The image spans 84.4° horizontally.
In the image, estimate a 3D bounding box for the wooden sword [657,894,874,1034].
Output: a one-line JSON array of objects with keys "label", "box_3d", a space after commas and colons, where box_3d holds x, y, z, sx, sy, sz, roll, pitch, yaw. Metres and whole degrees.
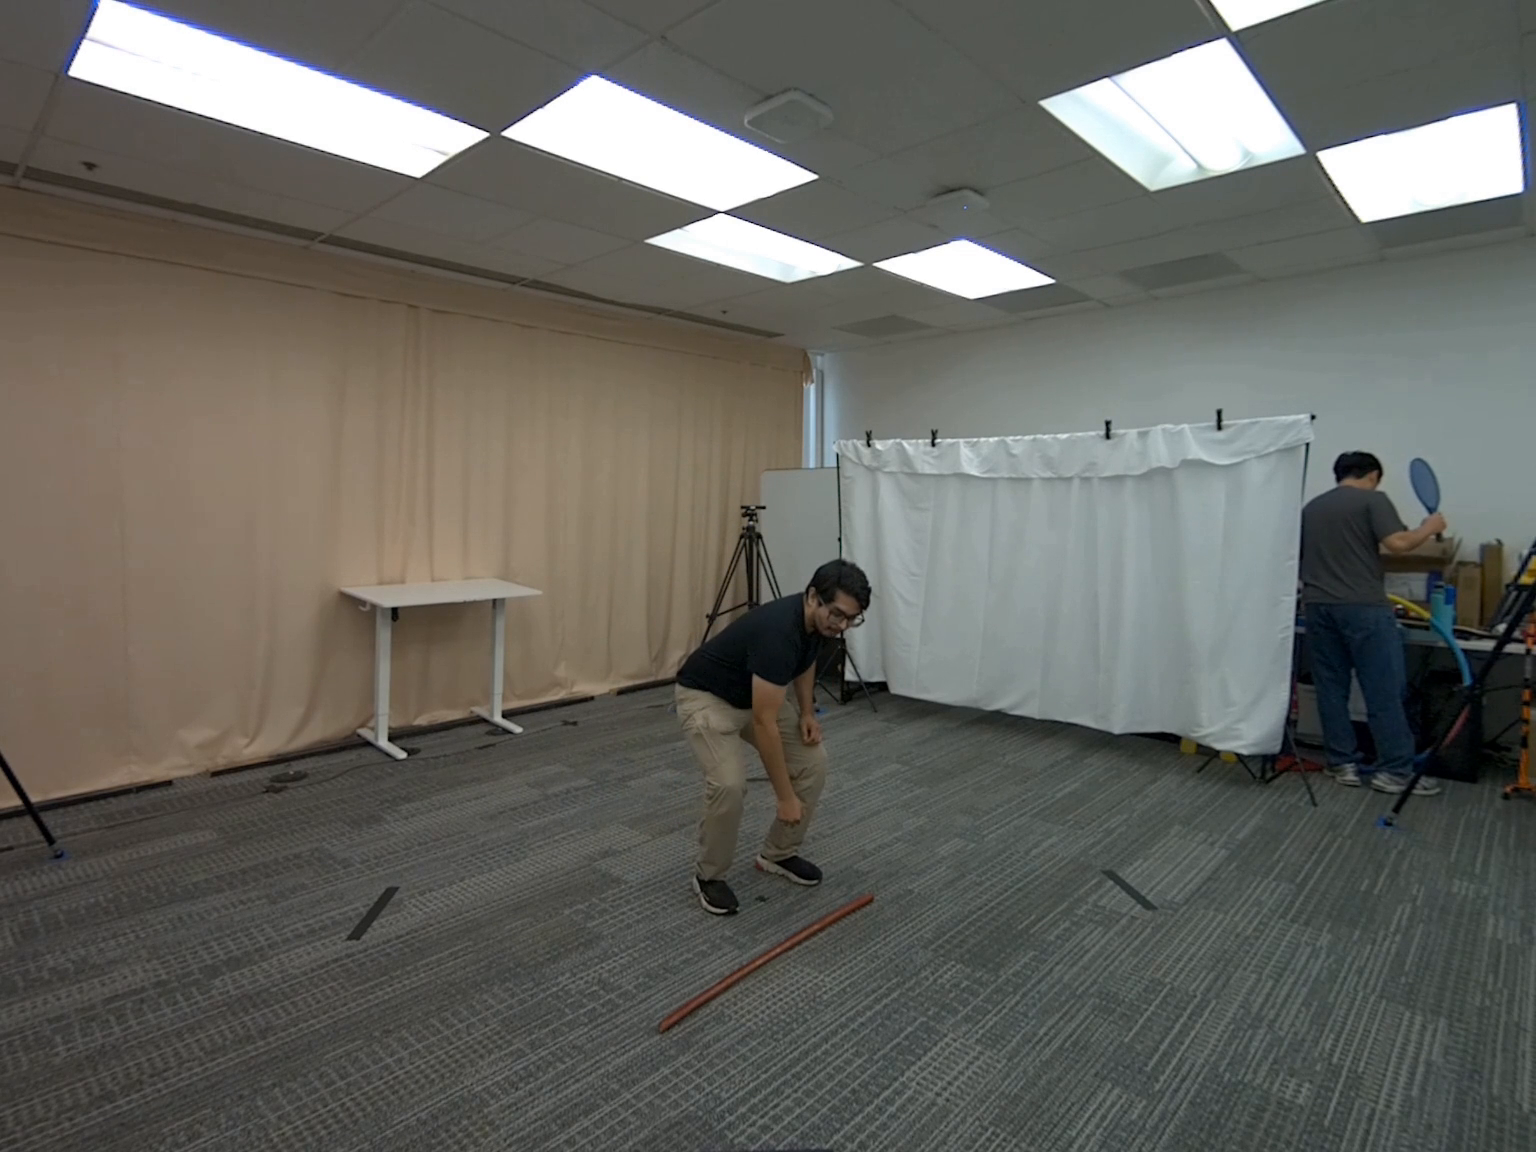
[{"label": "wooden sword", "box_3d": [0.032, 1.152, 2.616, 0.053, 0.024, 0.994, 11, 11, 40]}]
